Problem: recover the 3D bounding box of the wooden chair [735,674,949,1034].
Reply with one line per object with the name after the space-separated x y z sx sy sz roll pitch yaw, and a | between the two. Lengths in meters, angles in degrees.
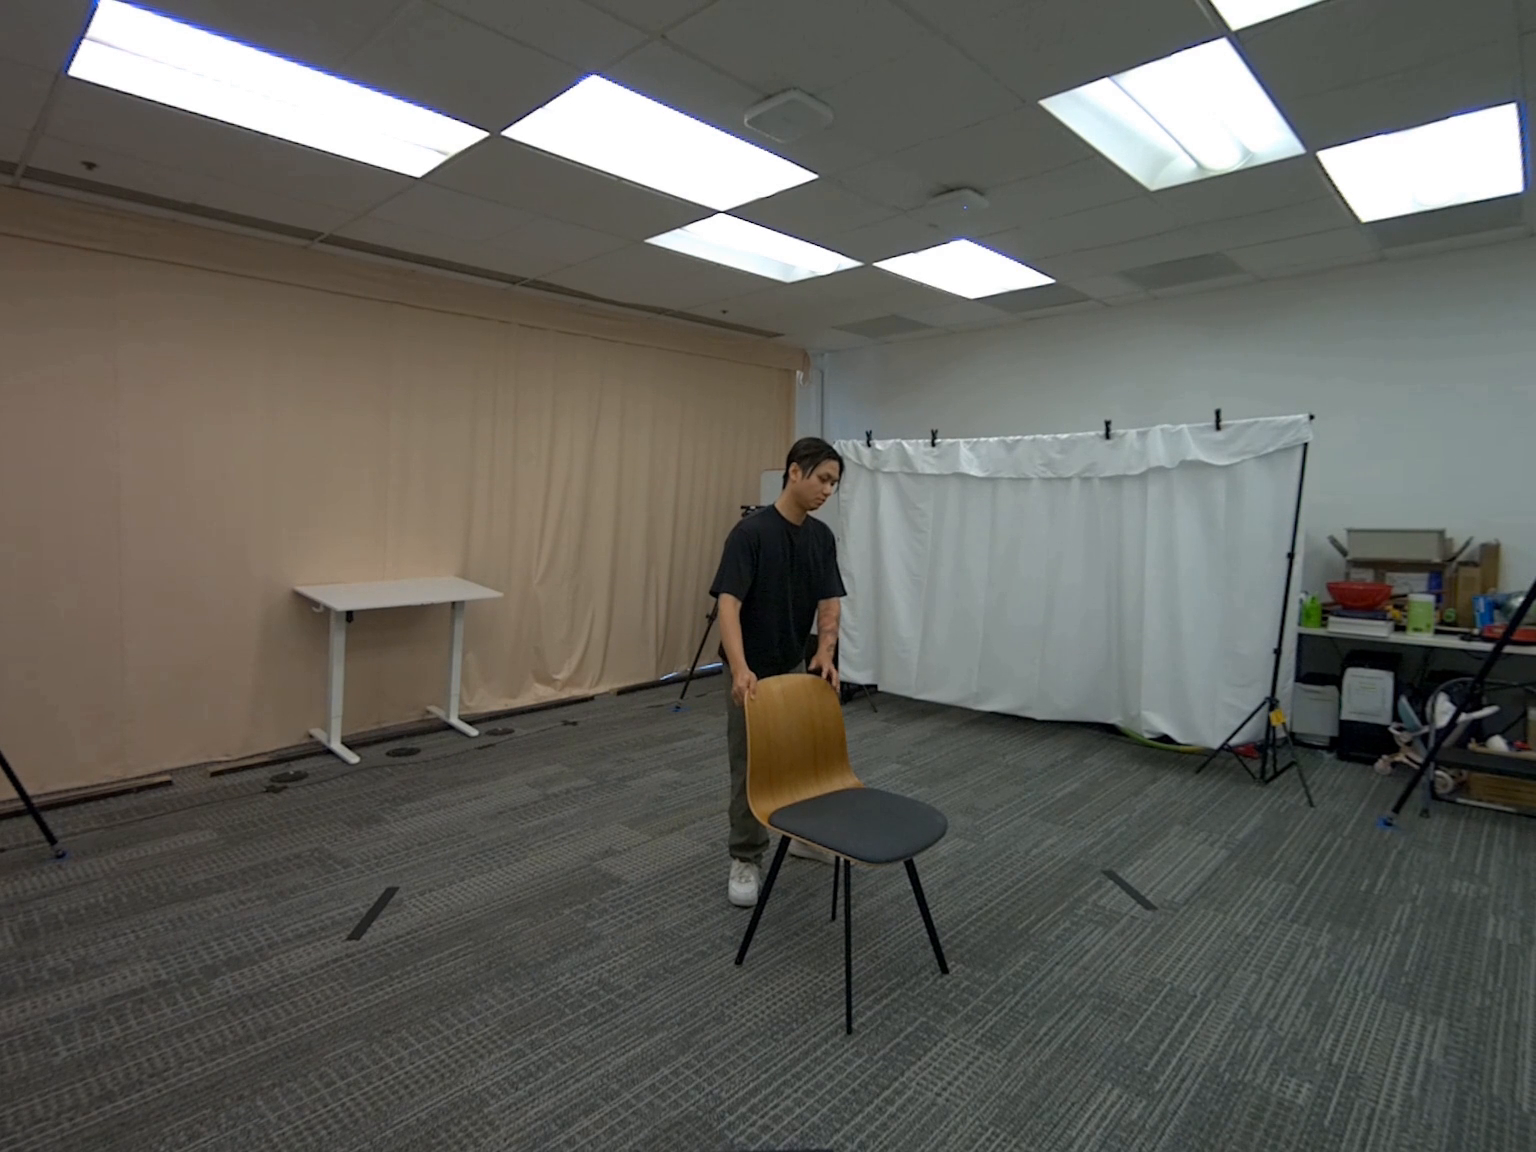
0.230 0.752 2.493 0.463 0.878 0.539 -2 0 -43 | wooden chair
